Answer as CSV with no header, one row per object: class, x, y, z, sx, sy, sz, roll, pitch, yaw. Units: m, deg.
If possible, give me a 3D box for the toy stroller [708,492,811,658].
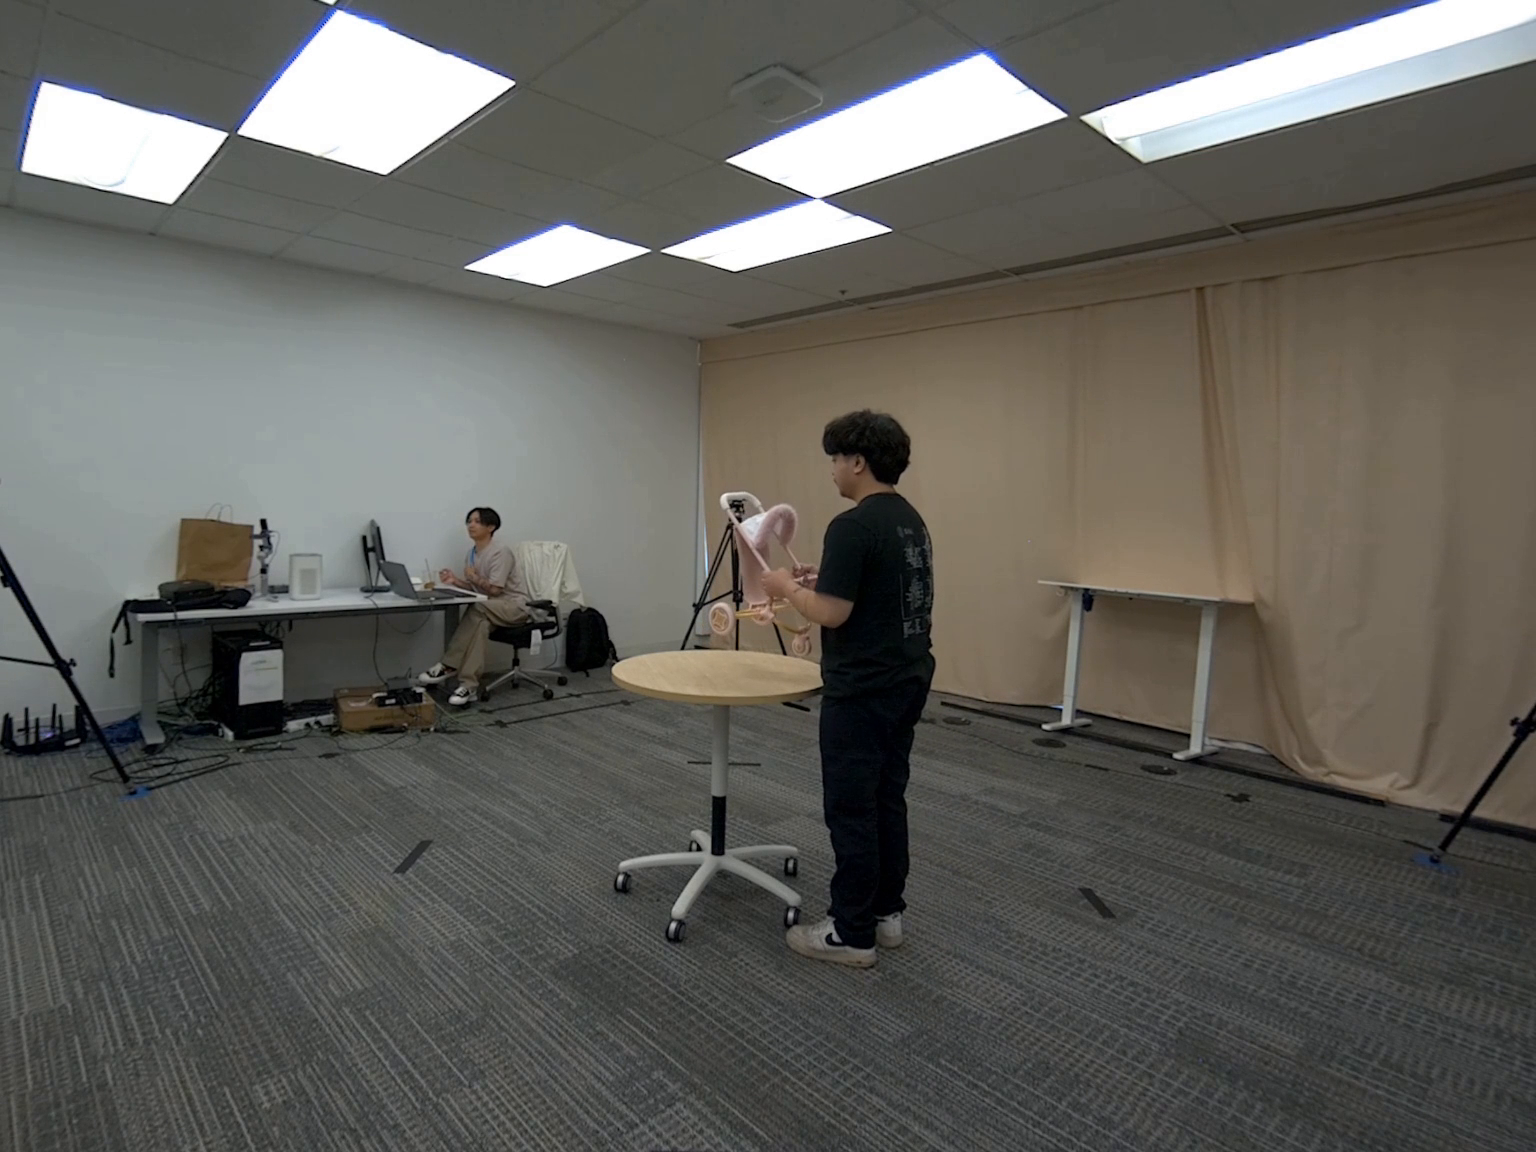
toy stroller,-0.003,-0.008,2.863,0.350,0.533,0.275,7,7,39
